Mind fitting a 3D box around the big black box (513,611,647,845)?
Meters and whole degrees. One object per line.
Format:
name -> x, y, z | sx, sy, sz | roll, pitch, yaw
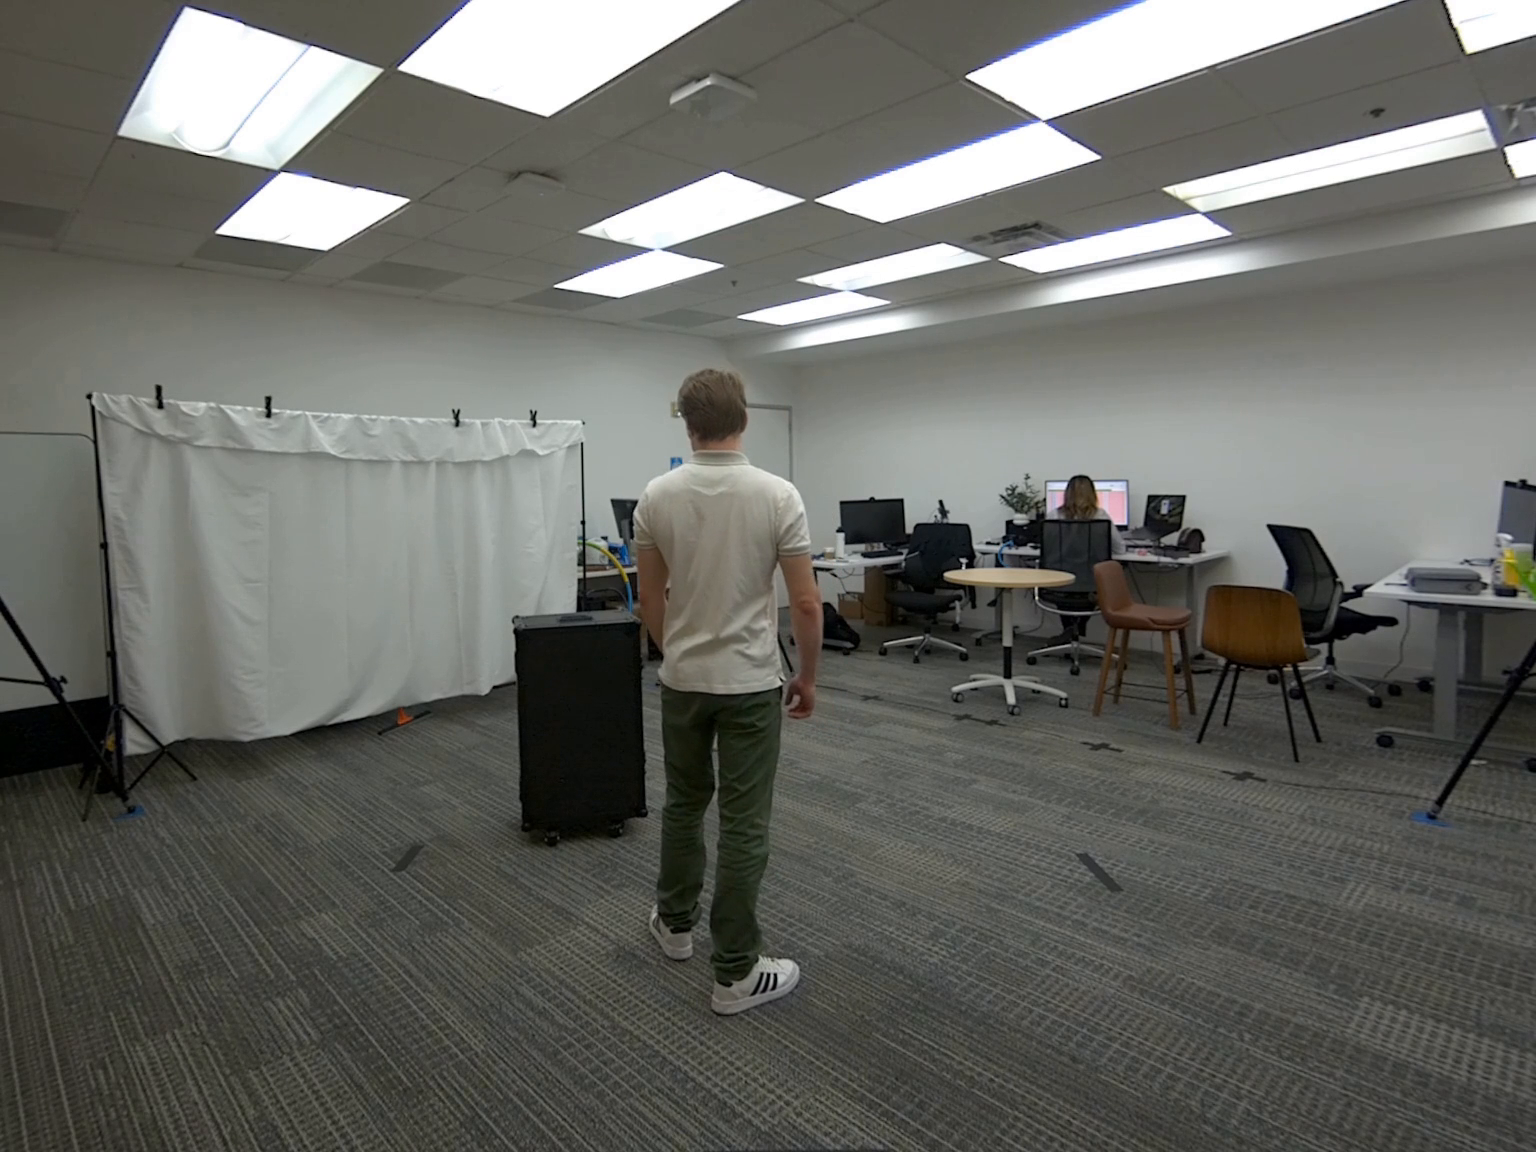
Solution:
big black box -> -0.777, 0.599, 3.480 | 0.516, 0.866, 0.391 | -2, 3, -15
